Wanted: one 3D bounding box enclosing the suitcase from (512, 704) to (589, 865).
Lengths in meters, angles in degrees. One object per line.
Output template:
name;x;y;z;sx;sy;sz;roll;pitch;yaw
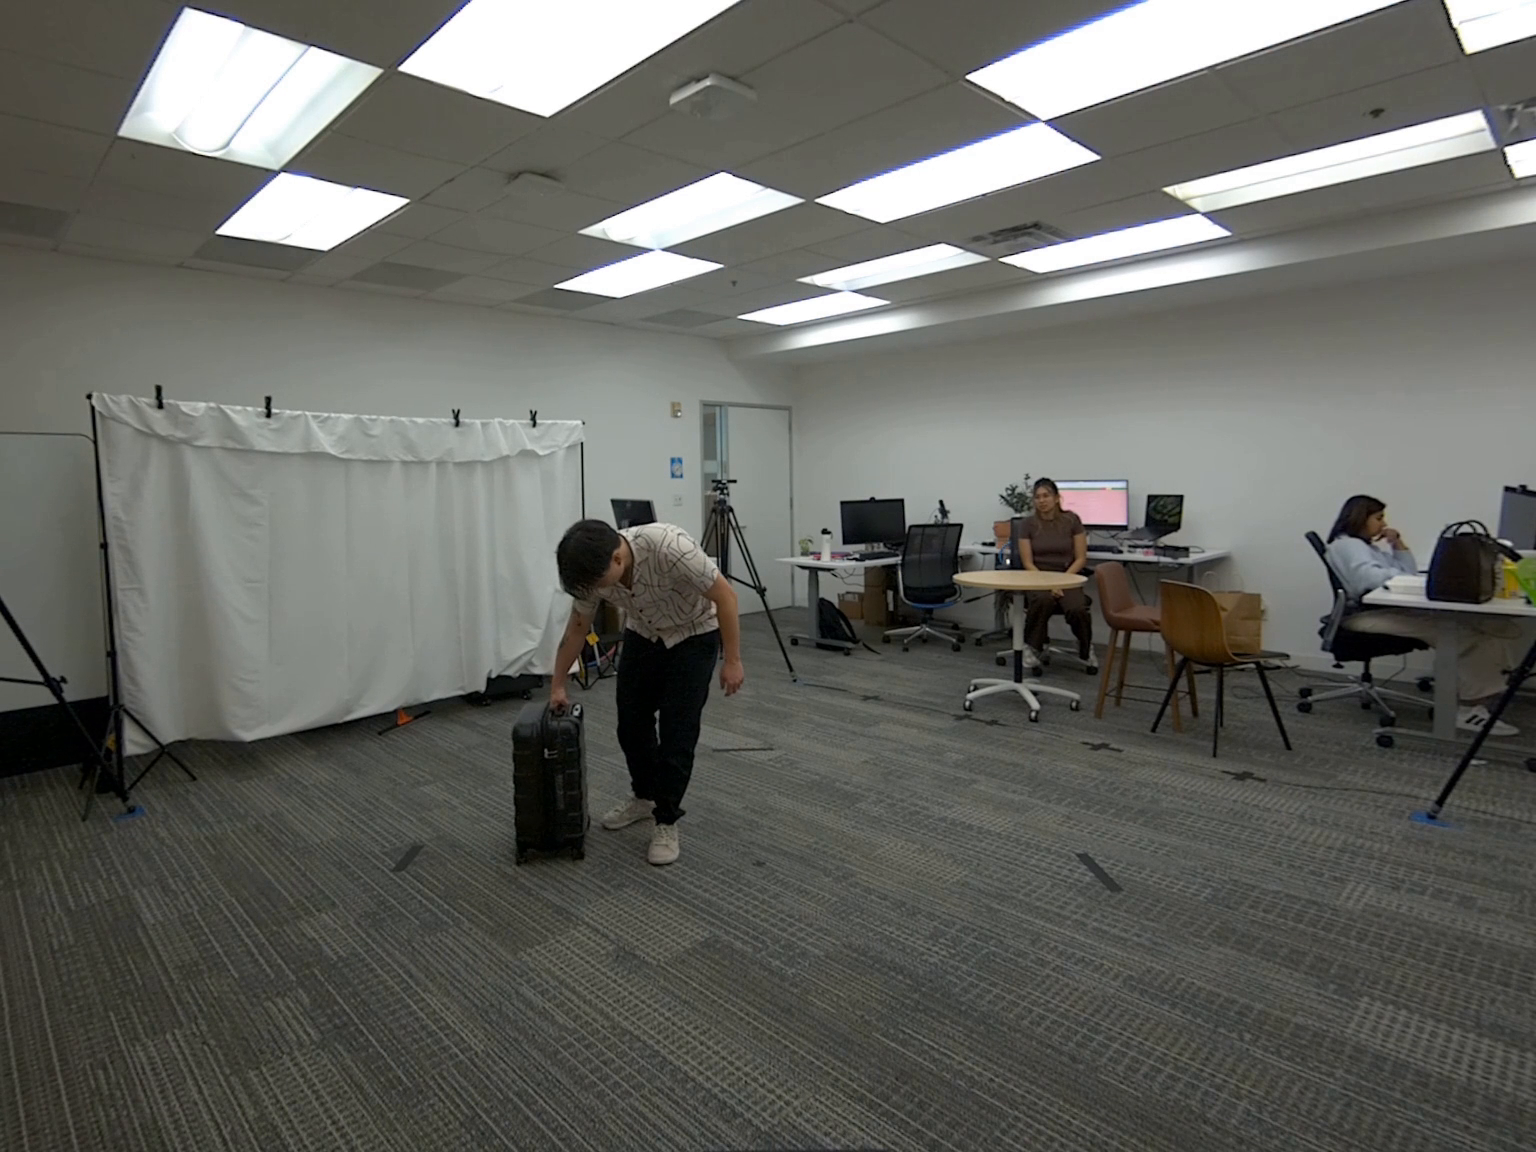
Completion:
suitcase;-0.824;0.768;3.276;0.247;0.547;0.379;-3;5;-7
